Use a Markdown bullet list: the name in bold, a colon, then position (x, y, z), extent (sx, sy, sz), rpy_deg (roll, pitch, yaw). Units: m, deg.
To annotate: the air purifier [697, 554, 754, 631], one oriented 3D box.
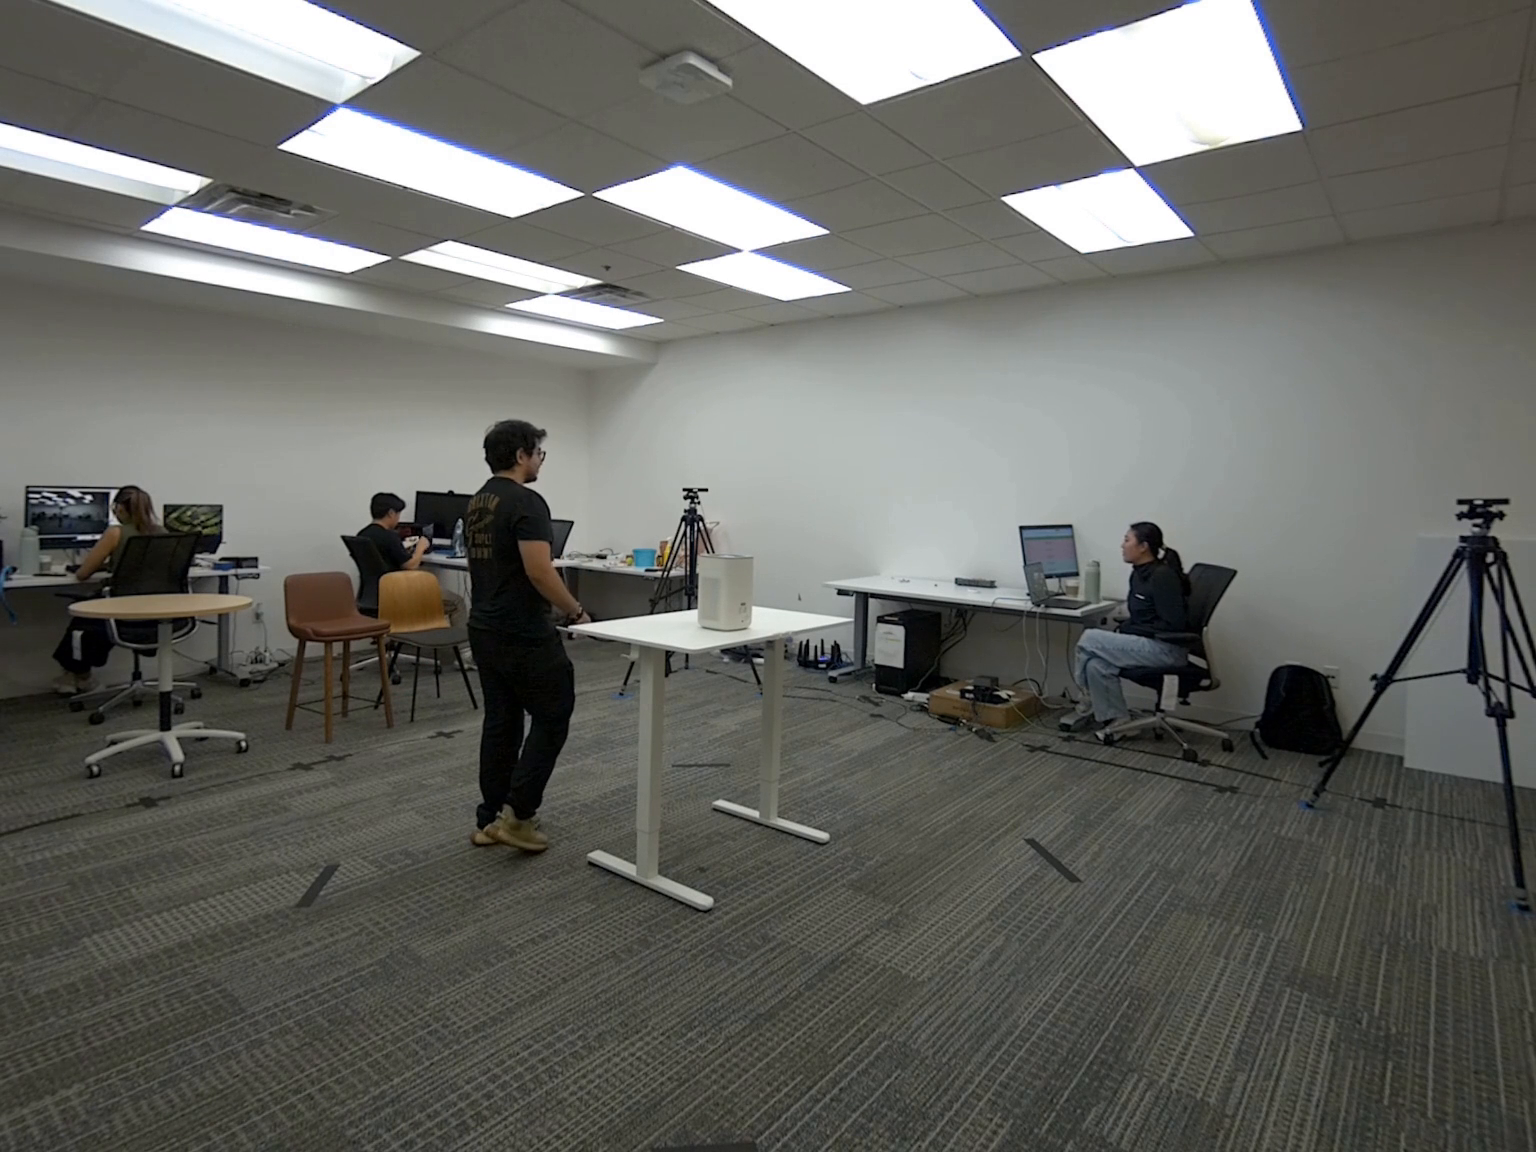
- **air purifier**: position (-0.163, 0.053, 3.108), extent (0.177, 0.265, 0.166), rpy_deg (4, 3, 40)
